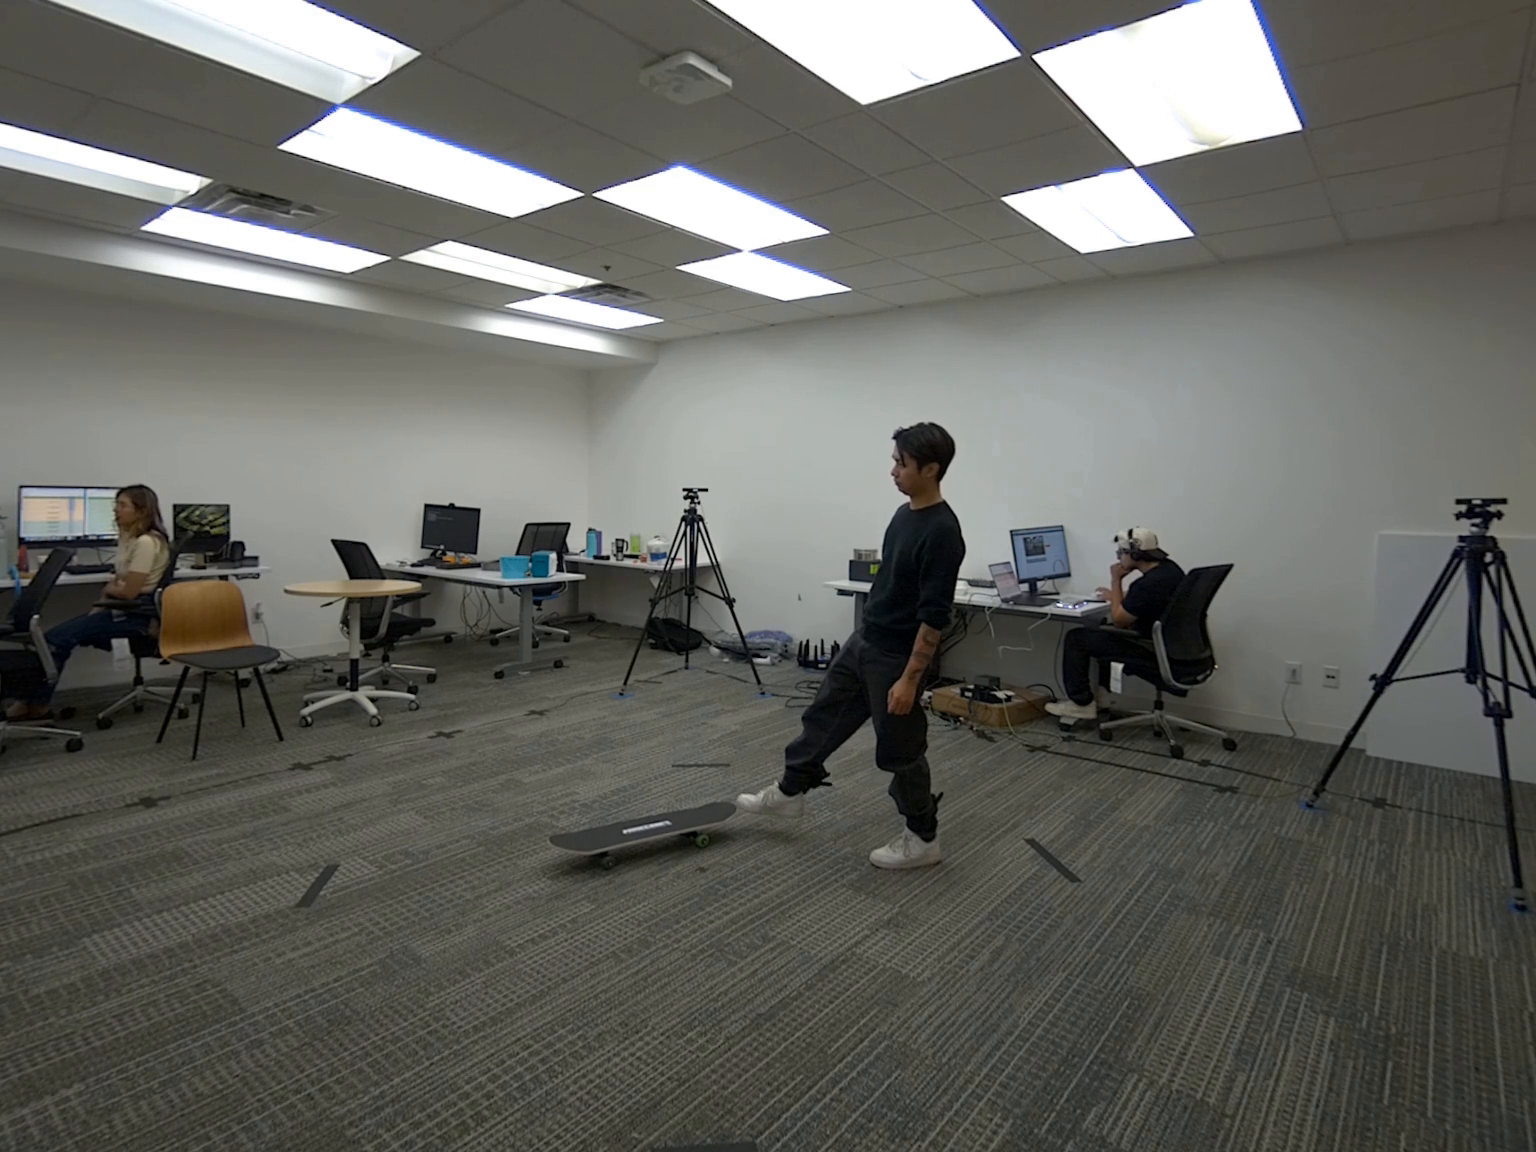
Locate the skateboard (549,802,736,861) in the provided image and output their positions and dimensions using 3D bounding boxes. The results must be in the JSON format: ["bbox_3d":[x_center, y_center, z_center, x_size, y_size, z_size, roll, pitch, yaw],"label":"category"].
[{"bbox_3d":[-0.472,0.998,3.273,0.764,0.110,0.199,-3,5,-31],"label":"skateboard"}]
